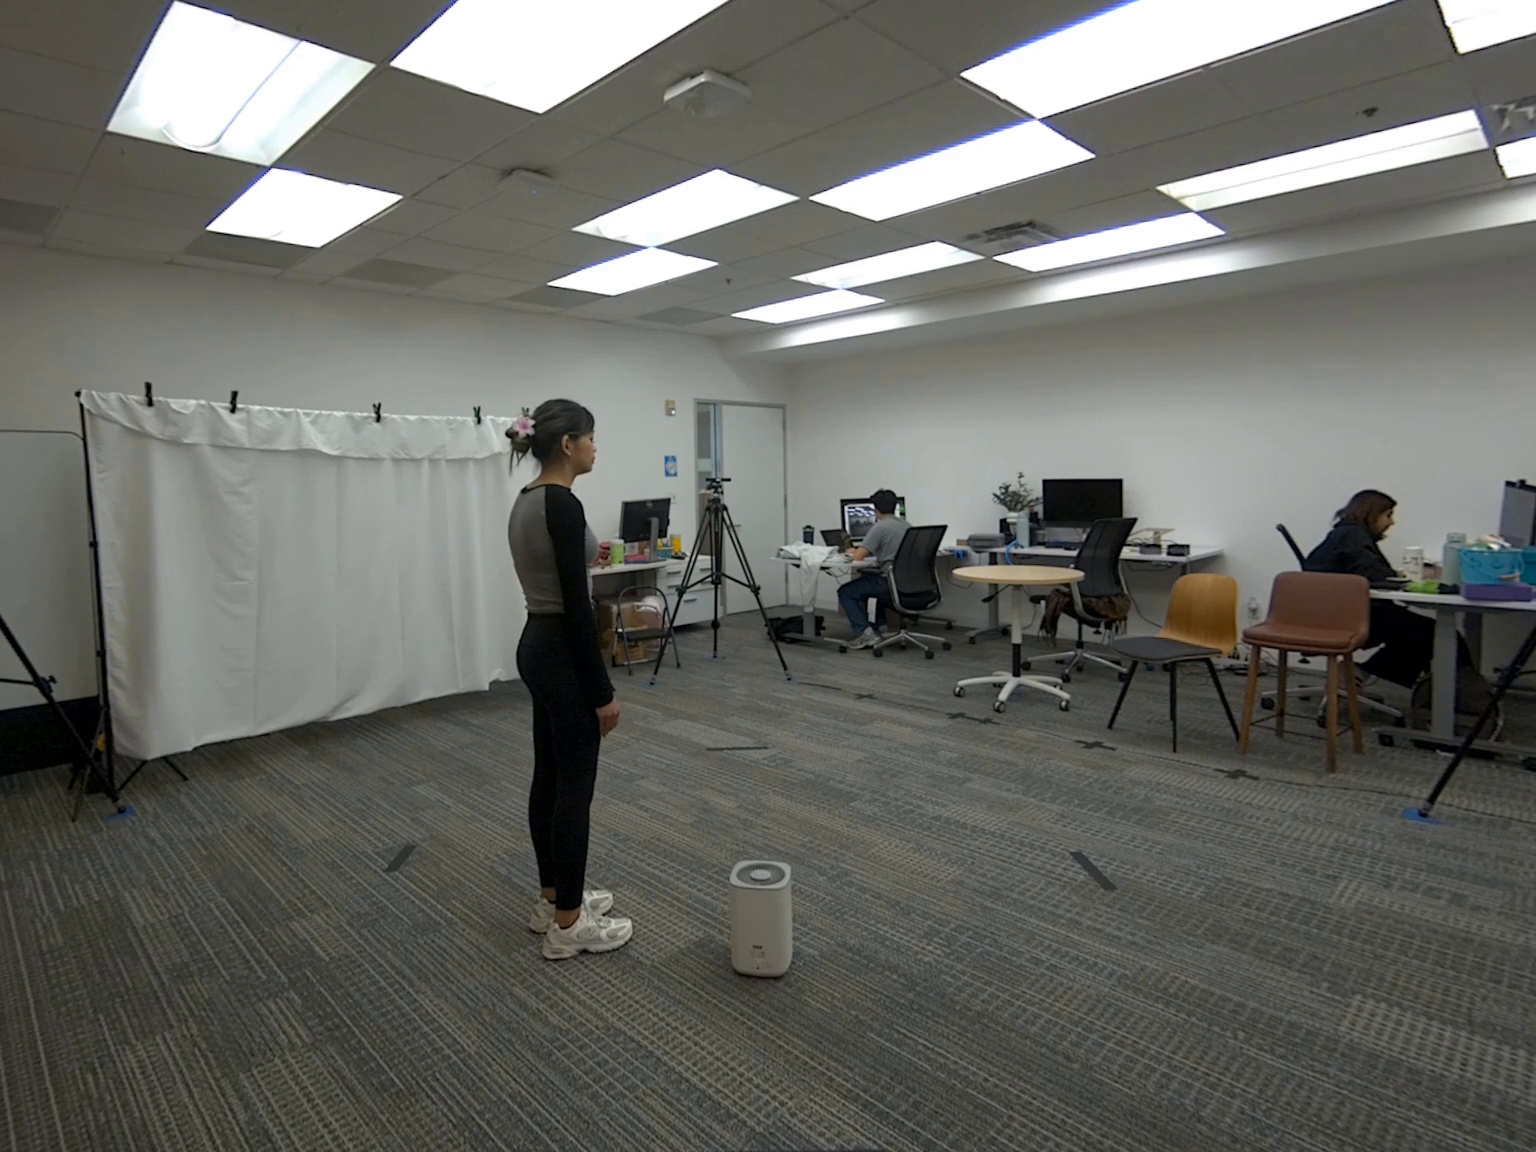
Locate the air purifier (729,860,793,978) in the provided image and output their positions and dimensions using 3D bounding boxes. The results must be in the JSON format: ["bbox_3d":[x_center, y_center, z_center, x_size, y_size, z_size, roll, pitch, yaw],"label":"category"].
[{"bbox_3d":[-0.015,0.978,2.455,0.173,0.264,0.170,-1,4,9],"label":"air purifier"}]
